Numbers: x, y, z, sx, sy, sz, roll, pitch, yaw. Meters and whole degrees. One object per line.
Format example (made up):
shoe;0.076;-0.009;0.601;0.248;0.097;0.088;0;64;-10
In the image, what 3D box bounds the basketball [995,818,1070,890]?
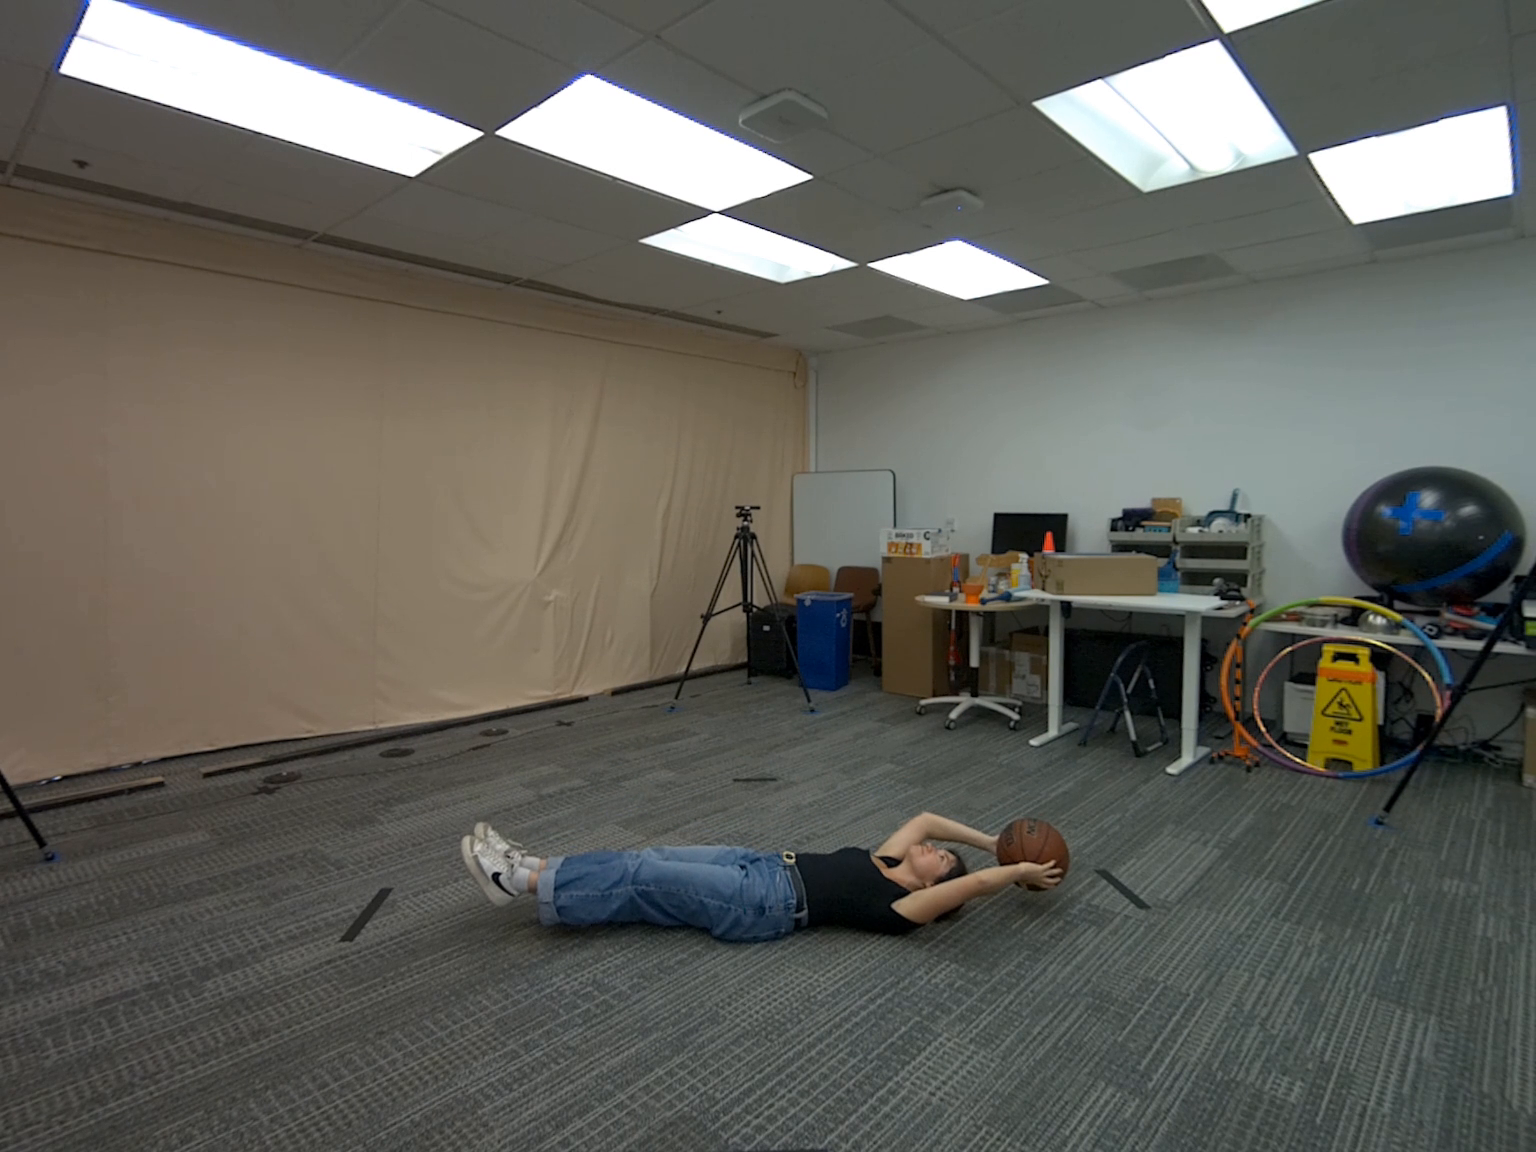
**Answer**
basketball;0.919;0.958;2.918;0.236;0.235;0.237;0;4;-2
